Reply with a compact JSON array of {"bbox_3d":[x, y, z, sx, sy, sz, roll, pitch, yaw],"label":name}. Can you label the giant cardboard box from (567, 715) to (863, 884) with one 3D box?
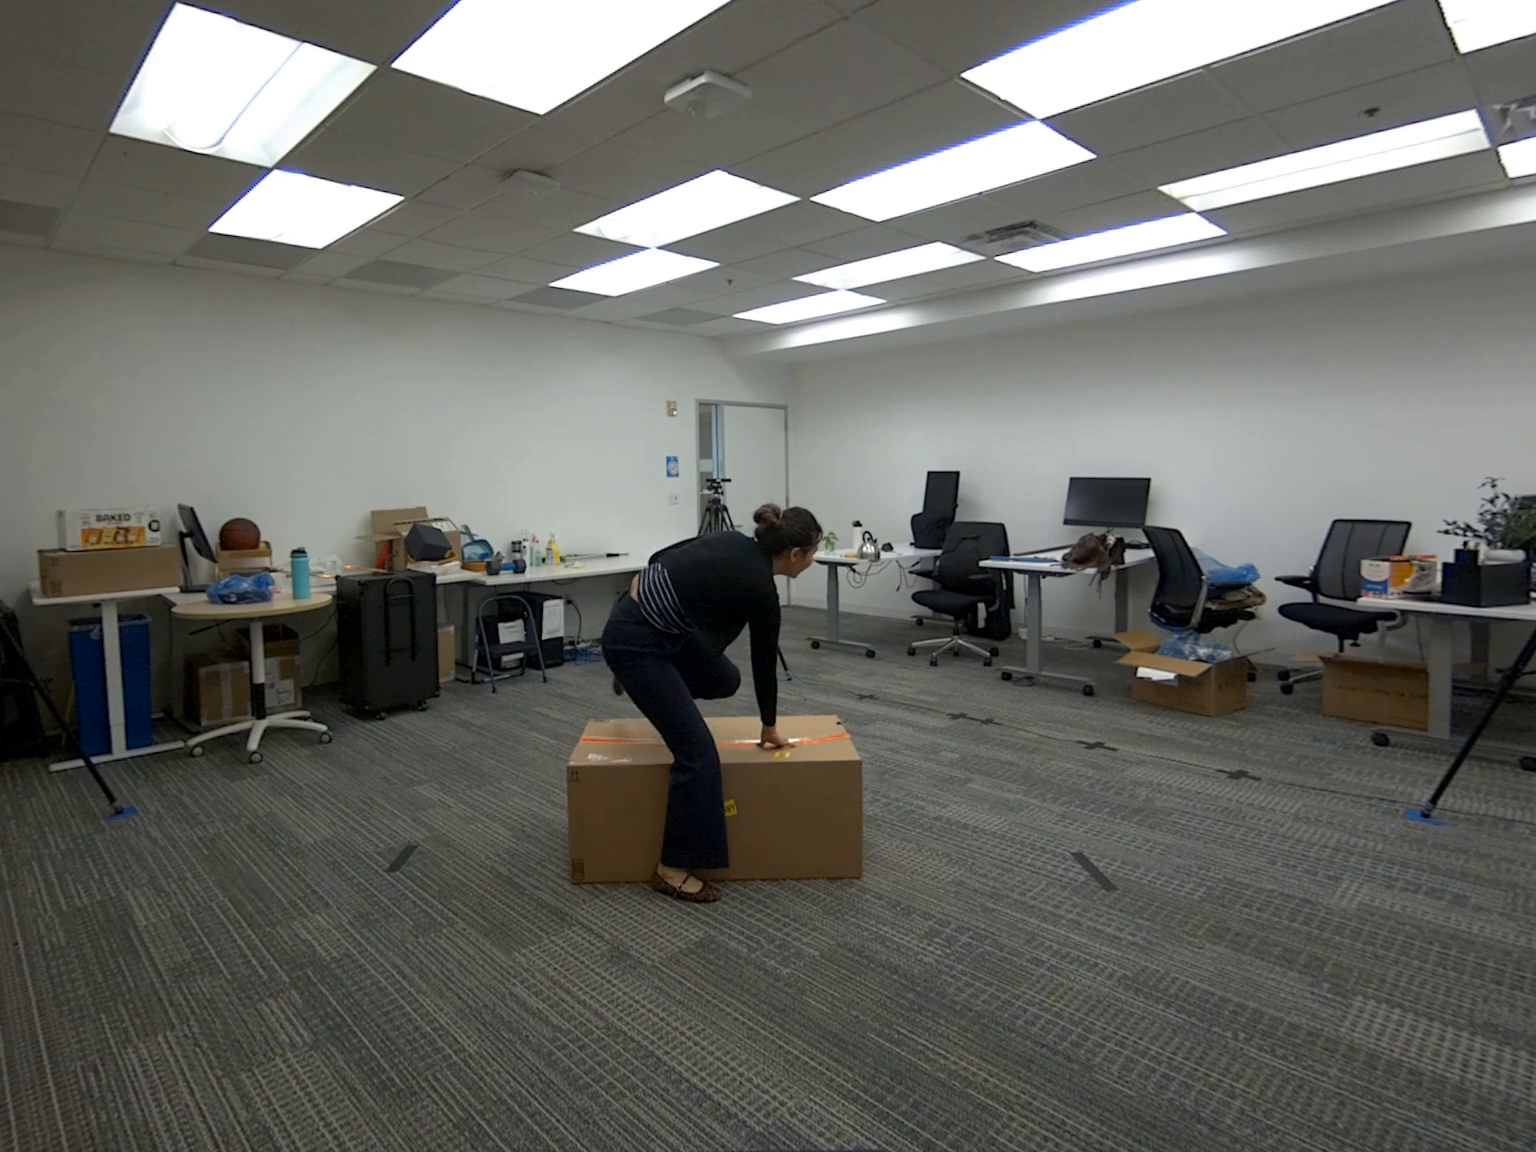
[{"bbox_3d":[-0.203,0.817,3.244,1.025,0.424,0.581,-1,6,-1],"label":"giant cardboard box"}]
